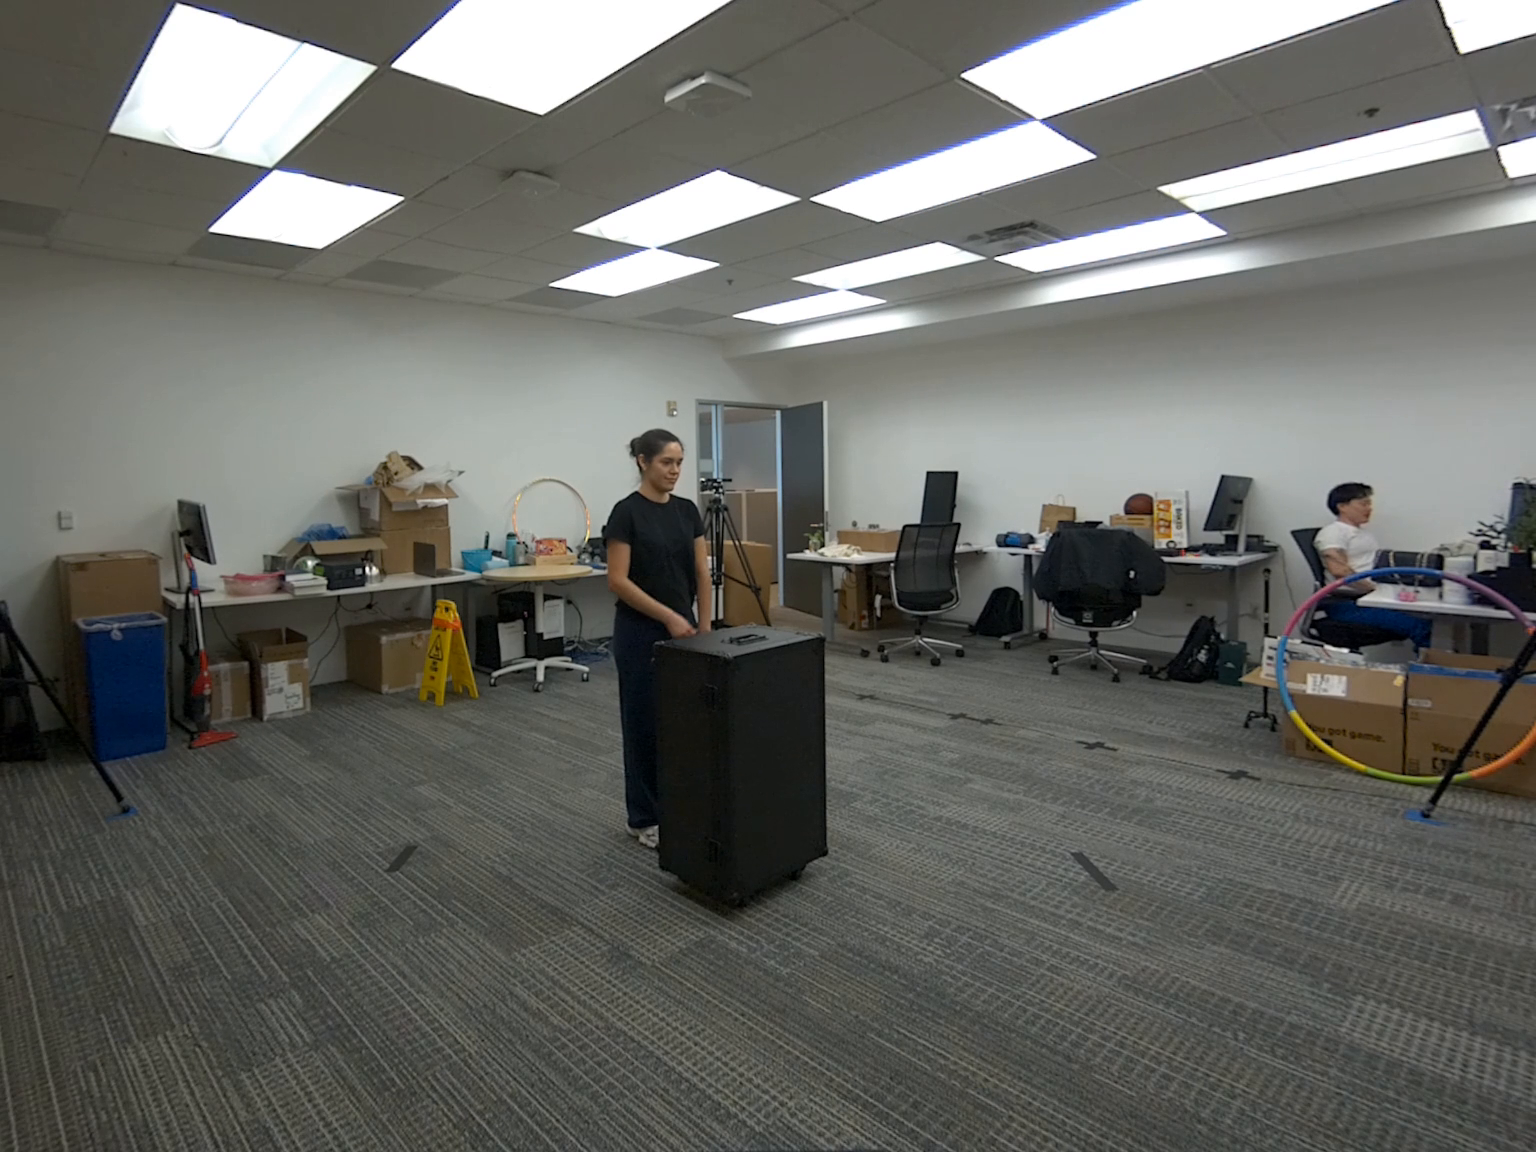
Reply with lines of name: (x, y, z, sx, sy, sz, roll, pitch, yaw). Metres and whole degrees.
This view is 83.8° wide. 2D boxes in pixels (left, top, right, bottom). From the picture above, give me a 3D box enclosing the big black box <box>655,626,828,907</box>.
big black box: (-0.094, 0.579, 2.958, 0.408, 0.858, 0.507, 4, 7, 44)
